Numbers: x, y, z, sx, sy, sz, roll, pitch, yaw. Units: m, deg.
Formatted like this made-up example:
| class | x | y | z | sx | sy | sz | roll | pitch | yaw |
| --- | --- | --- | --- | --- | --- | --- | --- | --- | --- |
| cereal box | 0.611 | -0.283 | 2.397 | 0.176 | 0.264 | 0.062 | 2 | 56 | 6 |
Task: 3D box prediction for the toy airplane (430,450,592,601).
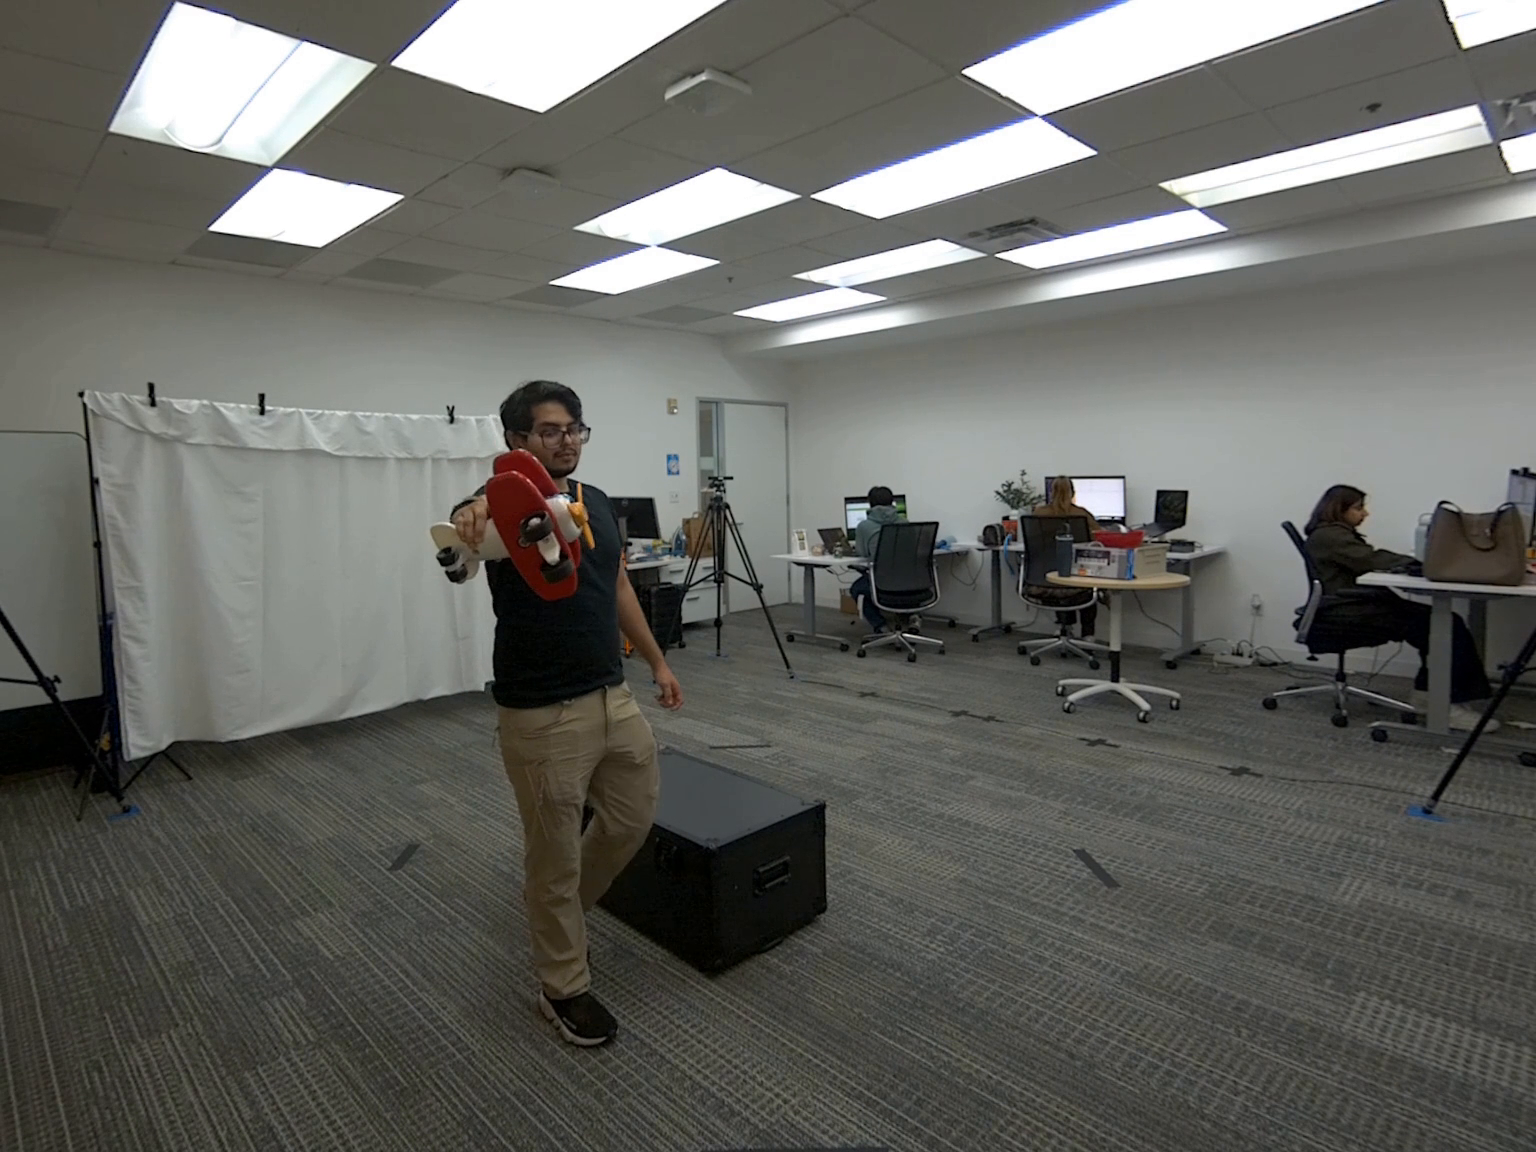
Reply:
| class | x | y | z | sx | sy | sz | roll | pitch | yaw |
| --- | --- | --- | --- | --- | --- | --- | --- | --- | --- |
| toy airplane | -0.436 | -0.083 | 1.429 | 0.260 | 0.247 | 0.159 | 16 | 33 | 1 |
